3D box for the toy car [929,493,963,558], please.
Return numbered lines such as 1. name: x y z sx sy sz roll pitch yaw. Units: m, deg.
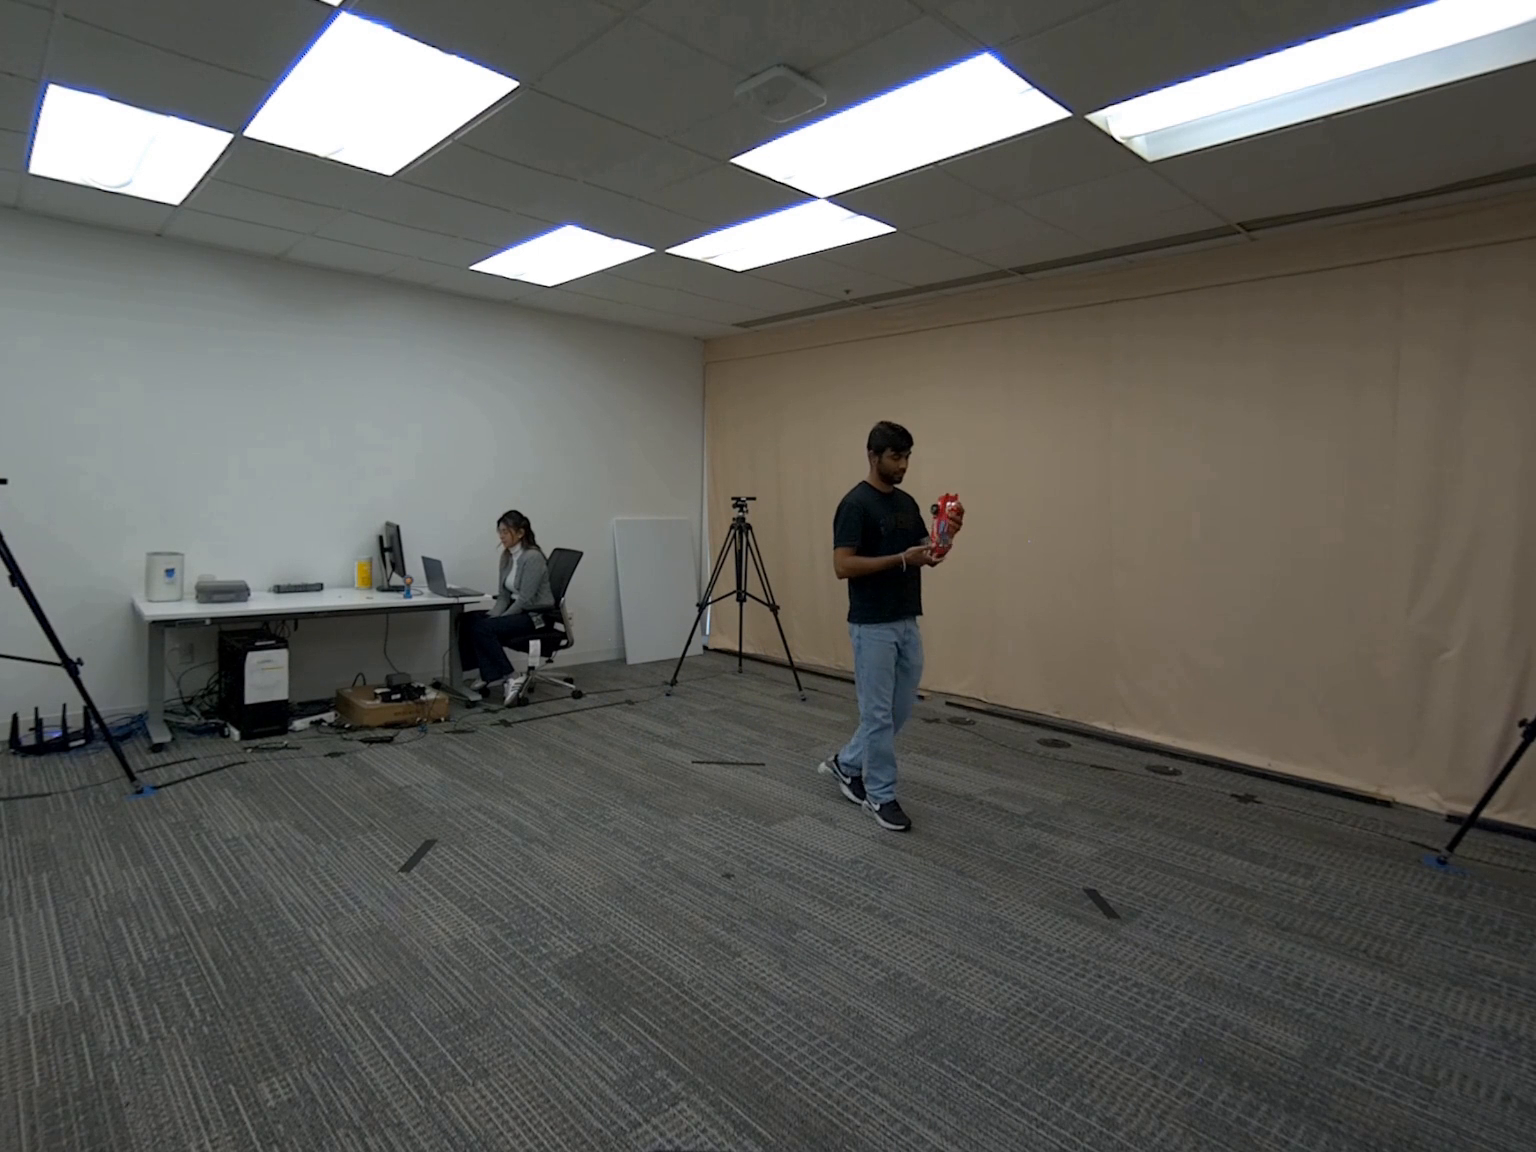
1. toy car: 0.725 -0.217 3.490 0.127 0.252 0.086 1 20 -33
